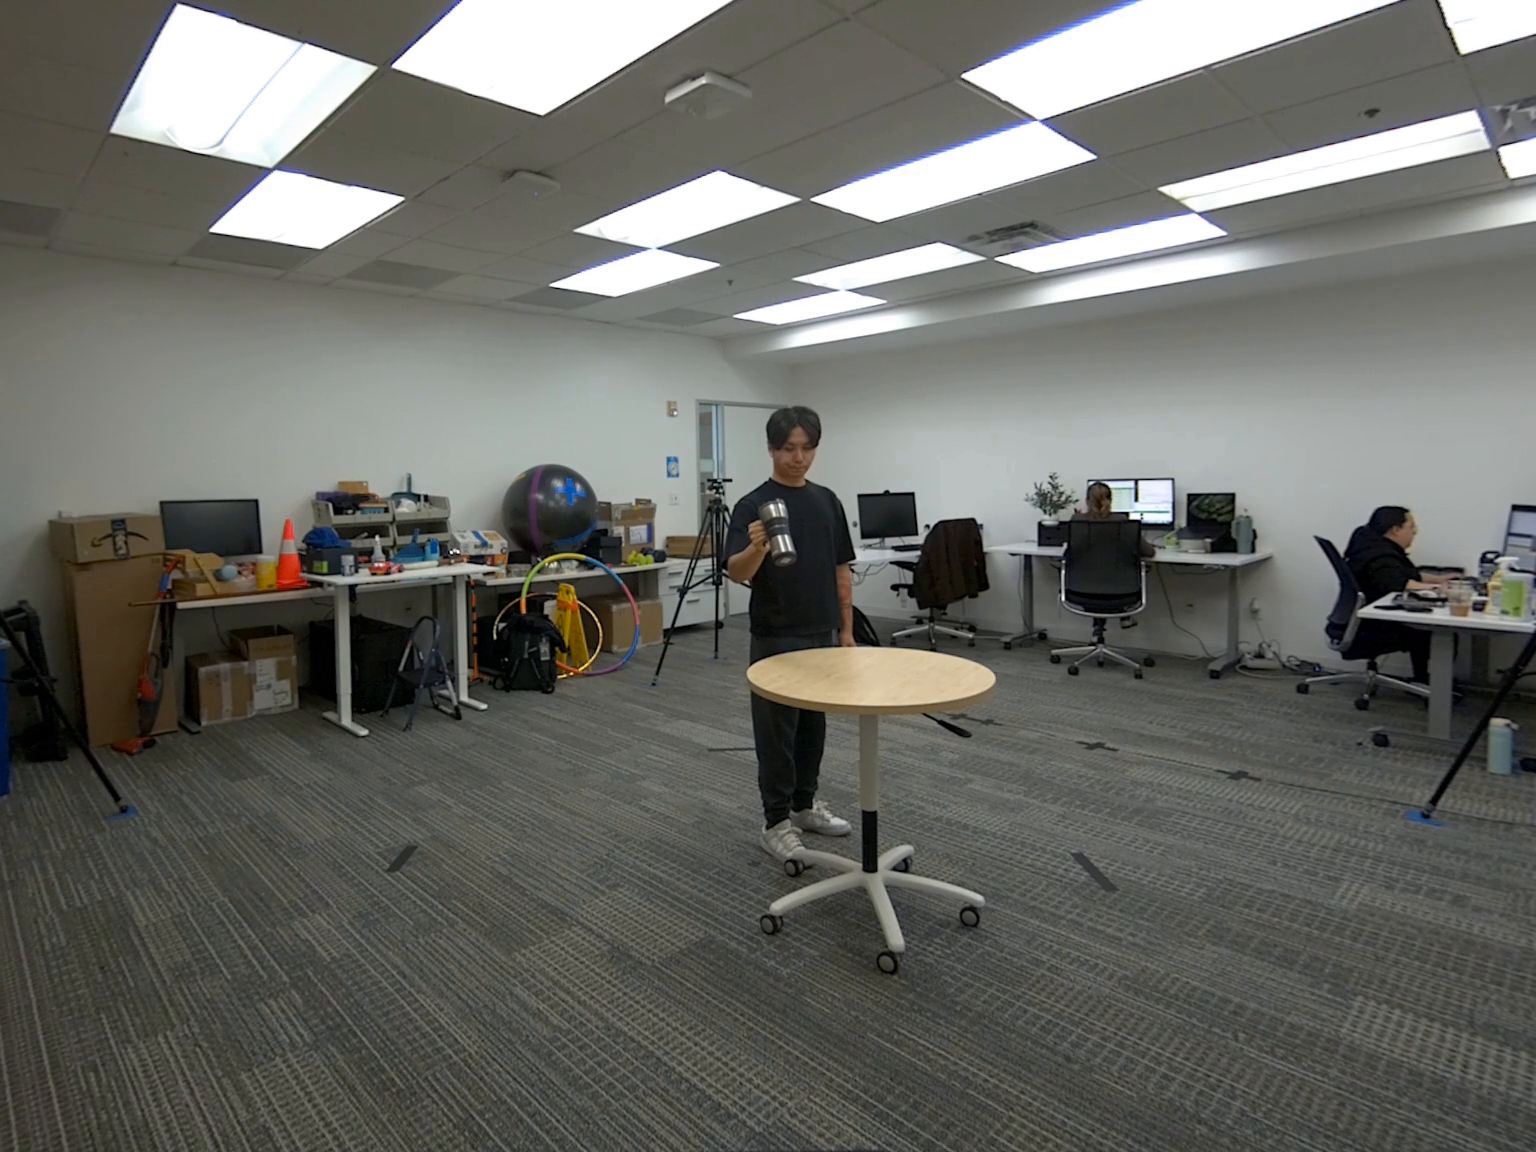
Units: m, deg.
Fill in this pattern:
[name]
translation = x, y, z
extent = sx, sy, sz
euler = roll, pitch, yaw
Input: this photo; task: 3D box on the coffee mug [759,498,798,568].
[coffee mug]
translation = 0.029, -0.124, 2.640
extent = 0.088, 0.208, 0.119
euler = -13, -25, -4
